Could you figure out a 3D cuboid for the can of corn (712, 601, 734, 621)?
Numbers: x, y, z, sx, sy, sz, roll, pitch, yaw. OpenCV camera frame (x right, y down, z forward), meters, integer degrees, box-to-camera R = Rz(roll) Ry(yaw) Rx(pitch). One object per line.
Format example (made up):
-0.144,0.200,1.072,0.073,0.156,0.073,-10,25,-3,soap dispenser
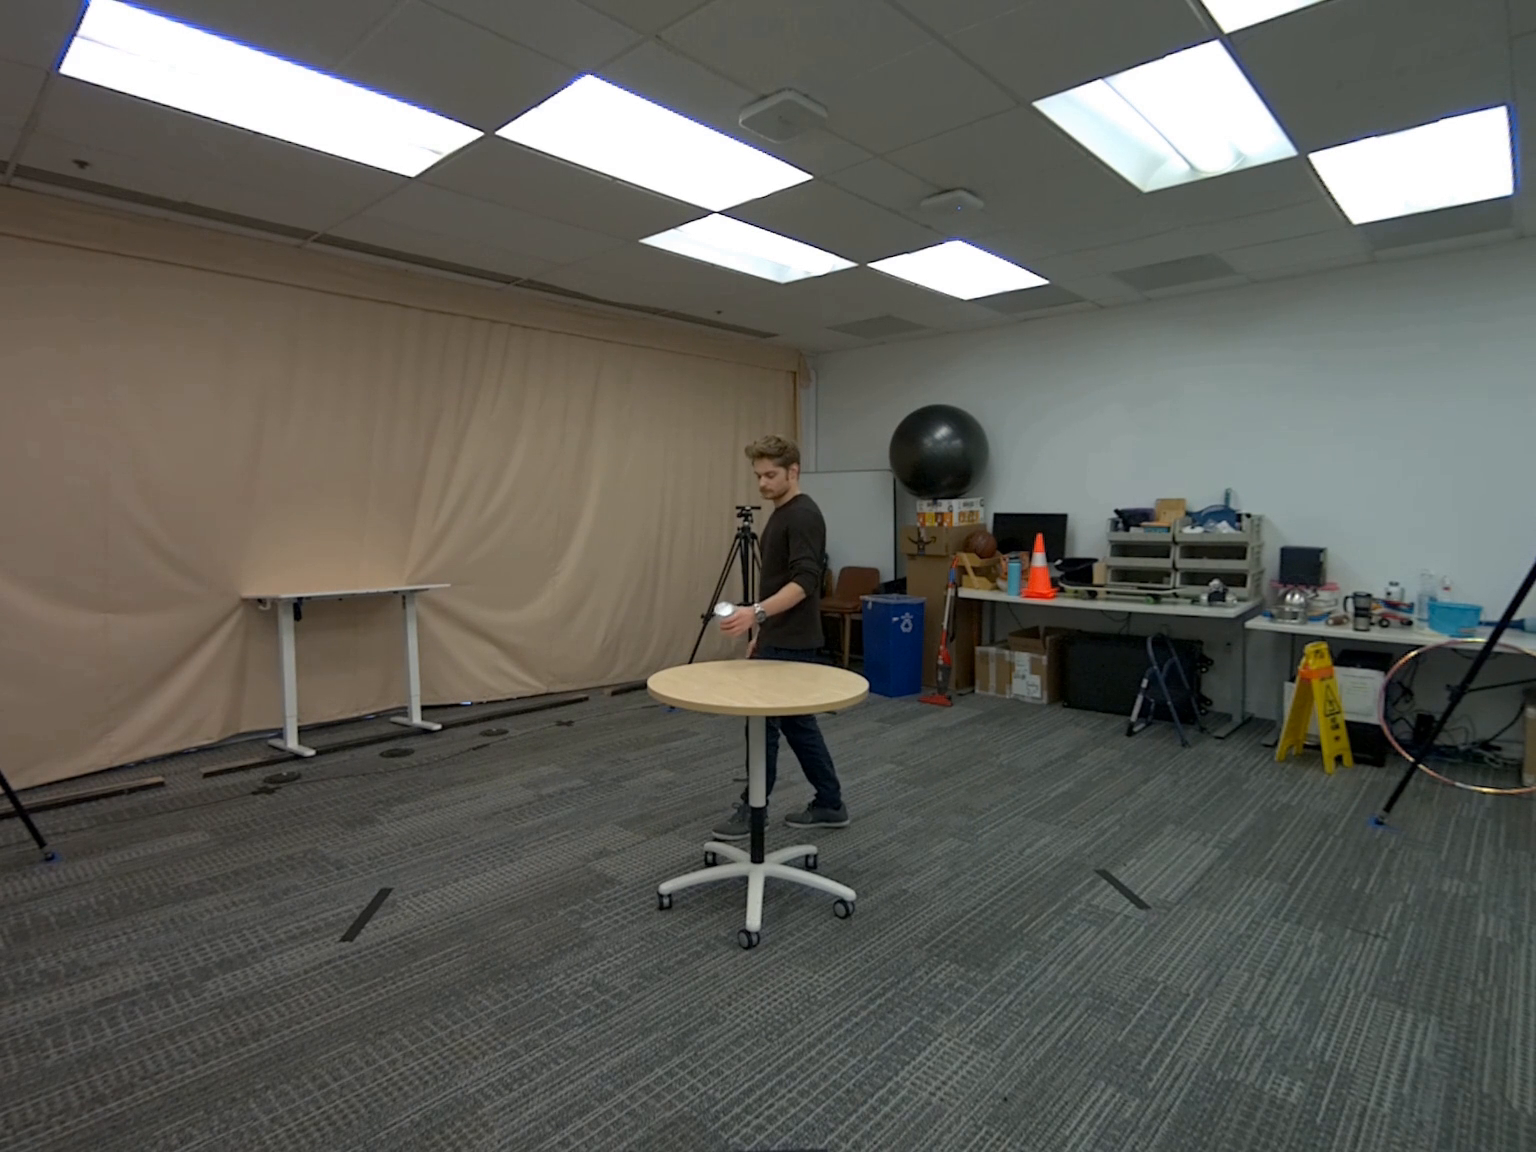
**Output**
-0.143,0.165,3.214,0.074,0.074,0.111,0,5,0,can of corn
